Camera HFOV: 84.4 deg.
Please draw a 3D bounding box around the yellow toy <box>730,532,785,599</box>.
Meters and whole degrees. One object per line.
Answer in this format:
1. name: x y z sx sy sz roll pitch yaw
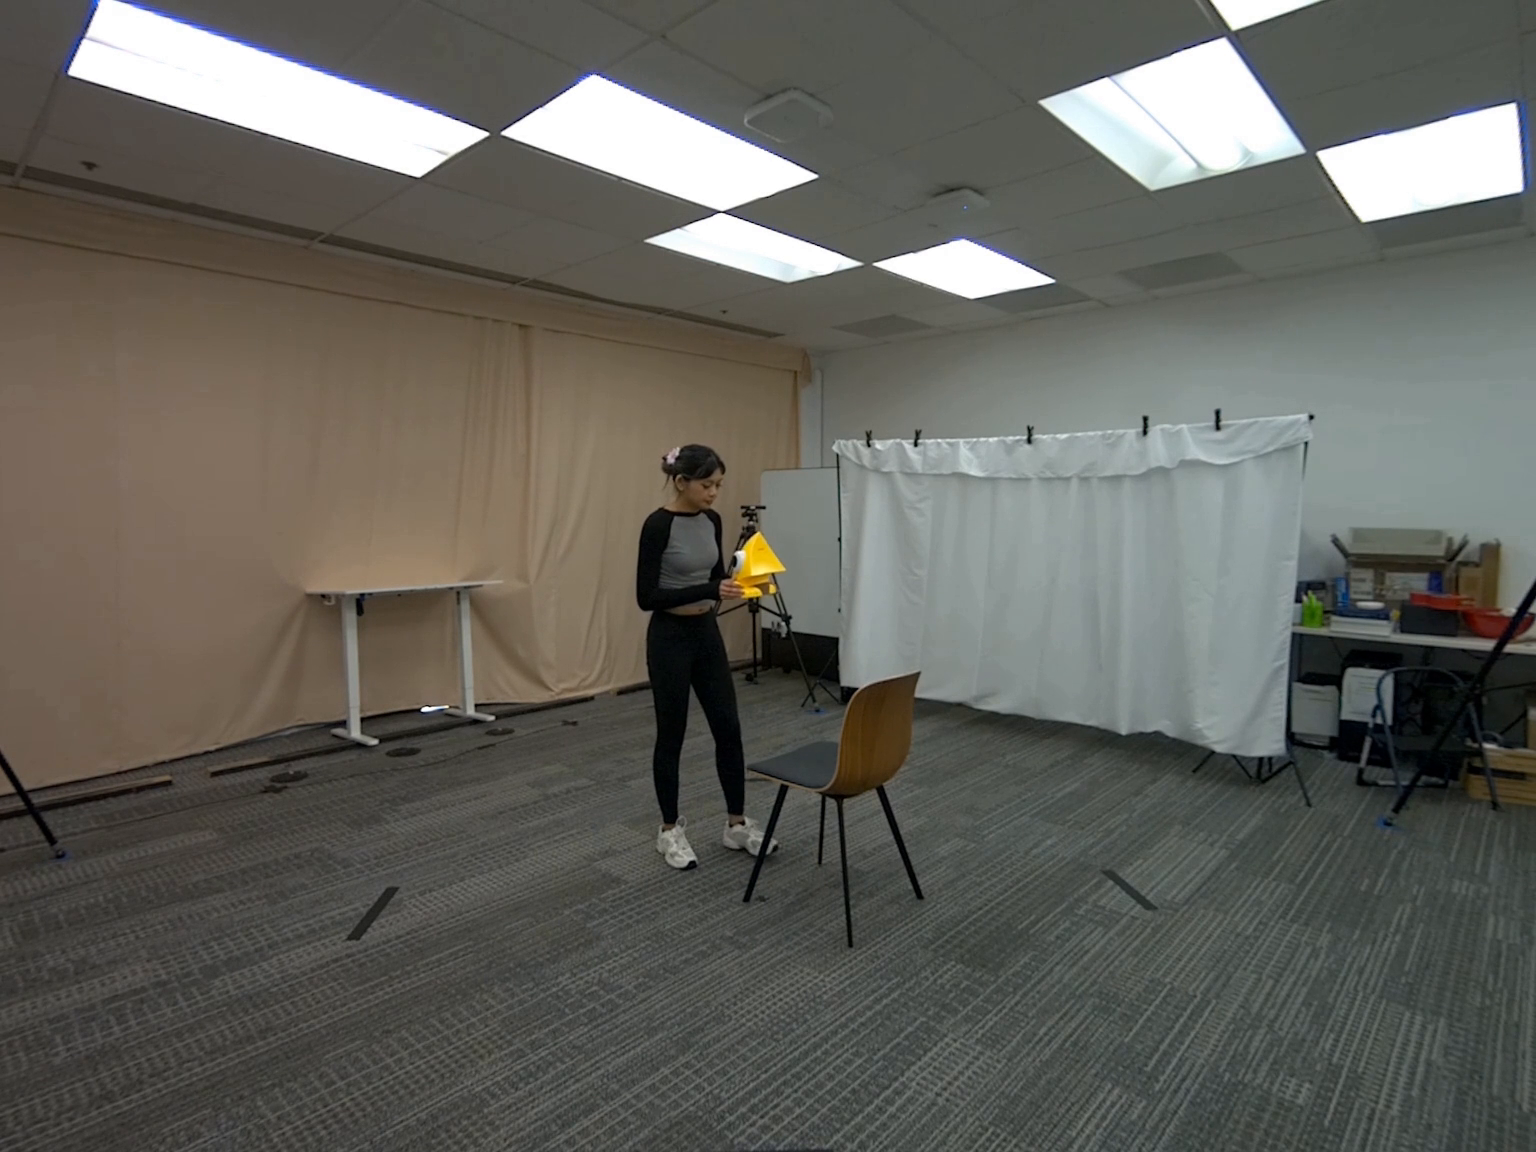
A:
1. yellow toy: -0.067 -0.043 3.100 0.199 0.230 0.199 -3 4 38
